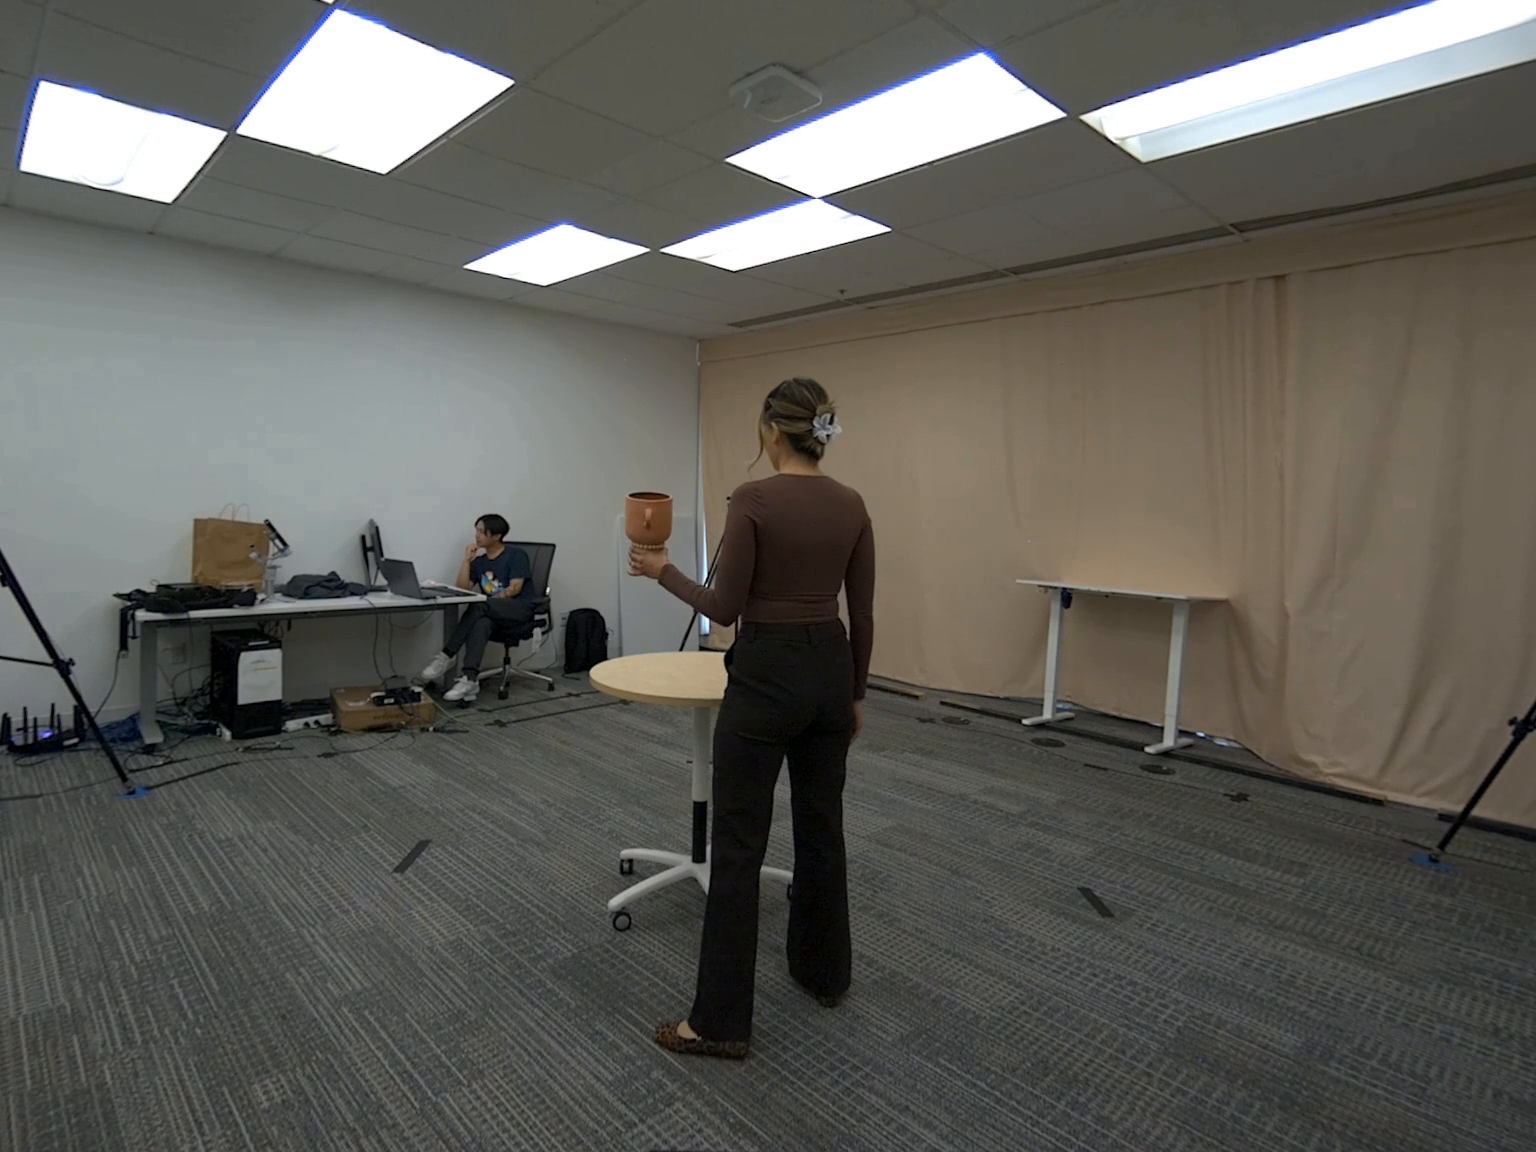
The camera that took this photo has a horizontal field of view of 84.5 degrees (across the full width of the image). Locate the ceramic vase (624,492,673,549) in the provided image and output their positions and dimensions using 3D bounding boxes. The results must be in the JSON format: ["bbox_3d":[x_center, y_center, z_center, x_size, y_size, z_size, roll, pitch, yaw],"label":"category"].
[{"bbox_3d":[-0.360,-0.120,2.376,0.138,0.218,0.156,14,17,33],"label":"ceramic vase"}]
